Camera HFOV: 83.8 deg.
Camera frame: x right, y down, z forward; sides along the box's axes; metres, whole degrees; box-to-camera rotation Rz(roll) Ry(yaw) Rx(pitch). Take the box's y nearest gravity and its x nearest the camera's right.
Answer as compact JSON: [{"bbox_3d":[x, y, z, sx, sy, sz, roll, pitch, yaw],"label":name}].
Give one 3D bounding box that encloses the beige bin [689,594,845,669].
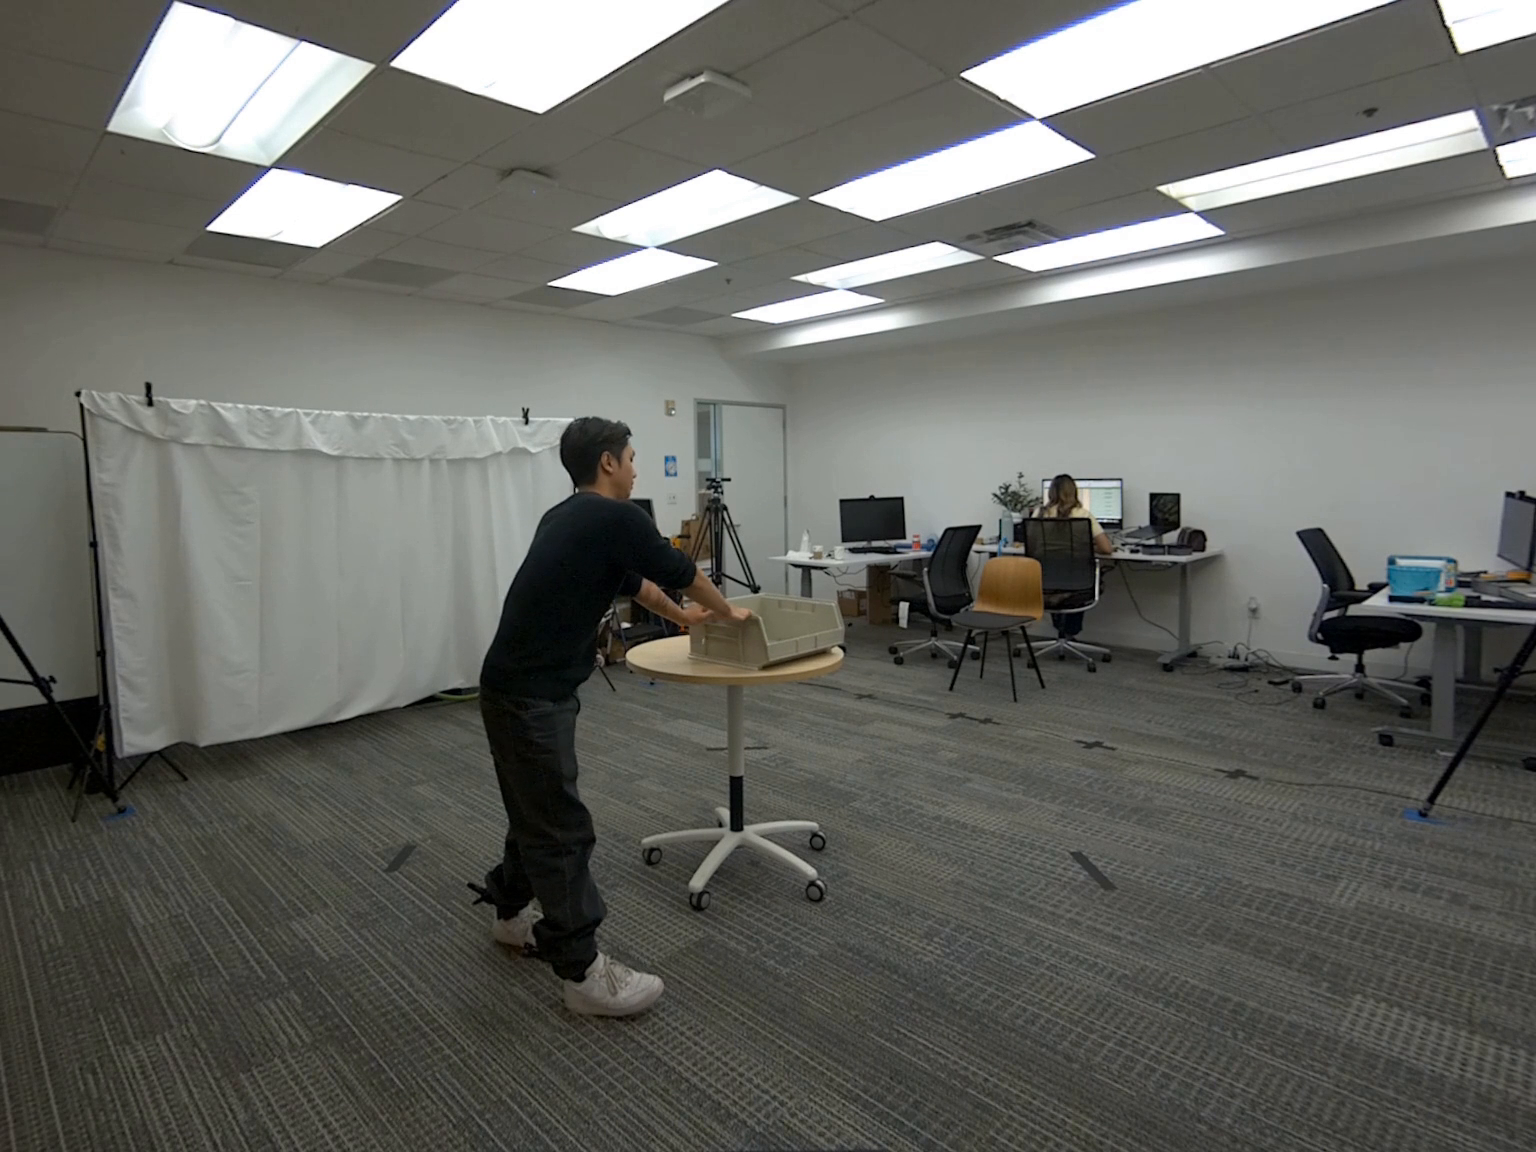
[{"bbox_3d":[-0.010,0.186,2.954,0.388,0.188,0.411,2,6,42],"label":"beige bin"}]
